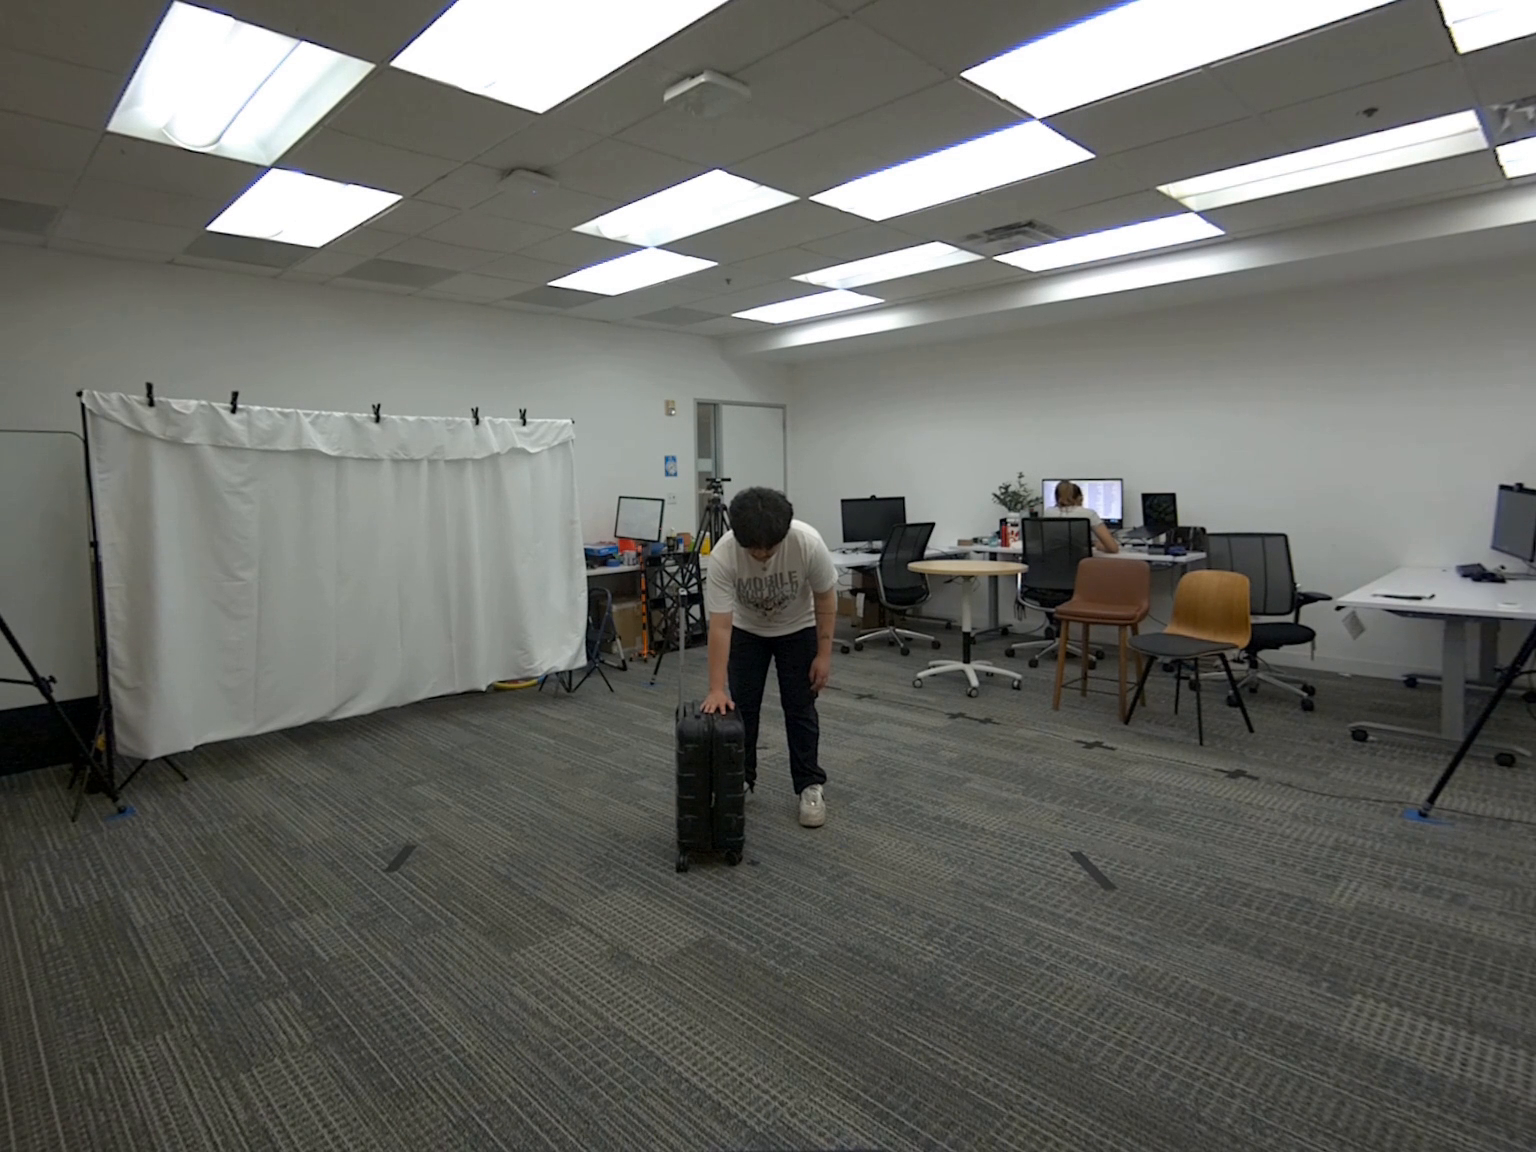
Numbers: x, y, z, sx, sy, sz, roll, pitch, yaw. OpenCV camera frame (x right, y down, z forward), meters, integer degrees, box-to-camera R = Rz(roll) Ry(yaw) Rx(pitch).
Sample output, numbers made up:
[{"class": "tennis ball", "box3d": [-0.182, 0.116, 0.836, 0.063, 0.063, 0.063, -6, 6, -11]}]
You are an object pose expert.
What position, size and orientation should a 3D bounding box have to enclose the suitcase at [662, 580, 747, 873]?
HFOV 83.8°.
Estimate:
[{"class": "suitcase", "box3d": [-0.219, 0.559, 3.201, 0.256, 0.976, 0.387, 2, 4, -5]}]
